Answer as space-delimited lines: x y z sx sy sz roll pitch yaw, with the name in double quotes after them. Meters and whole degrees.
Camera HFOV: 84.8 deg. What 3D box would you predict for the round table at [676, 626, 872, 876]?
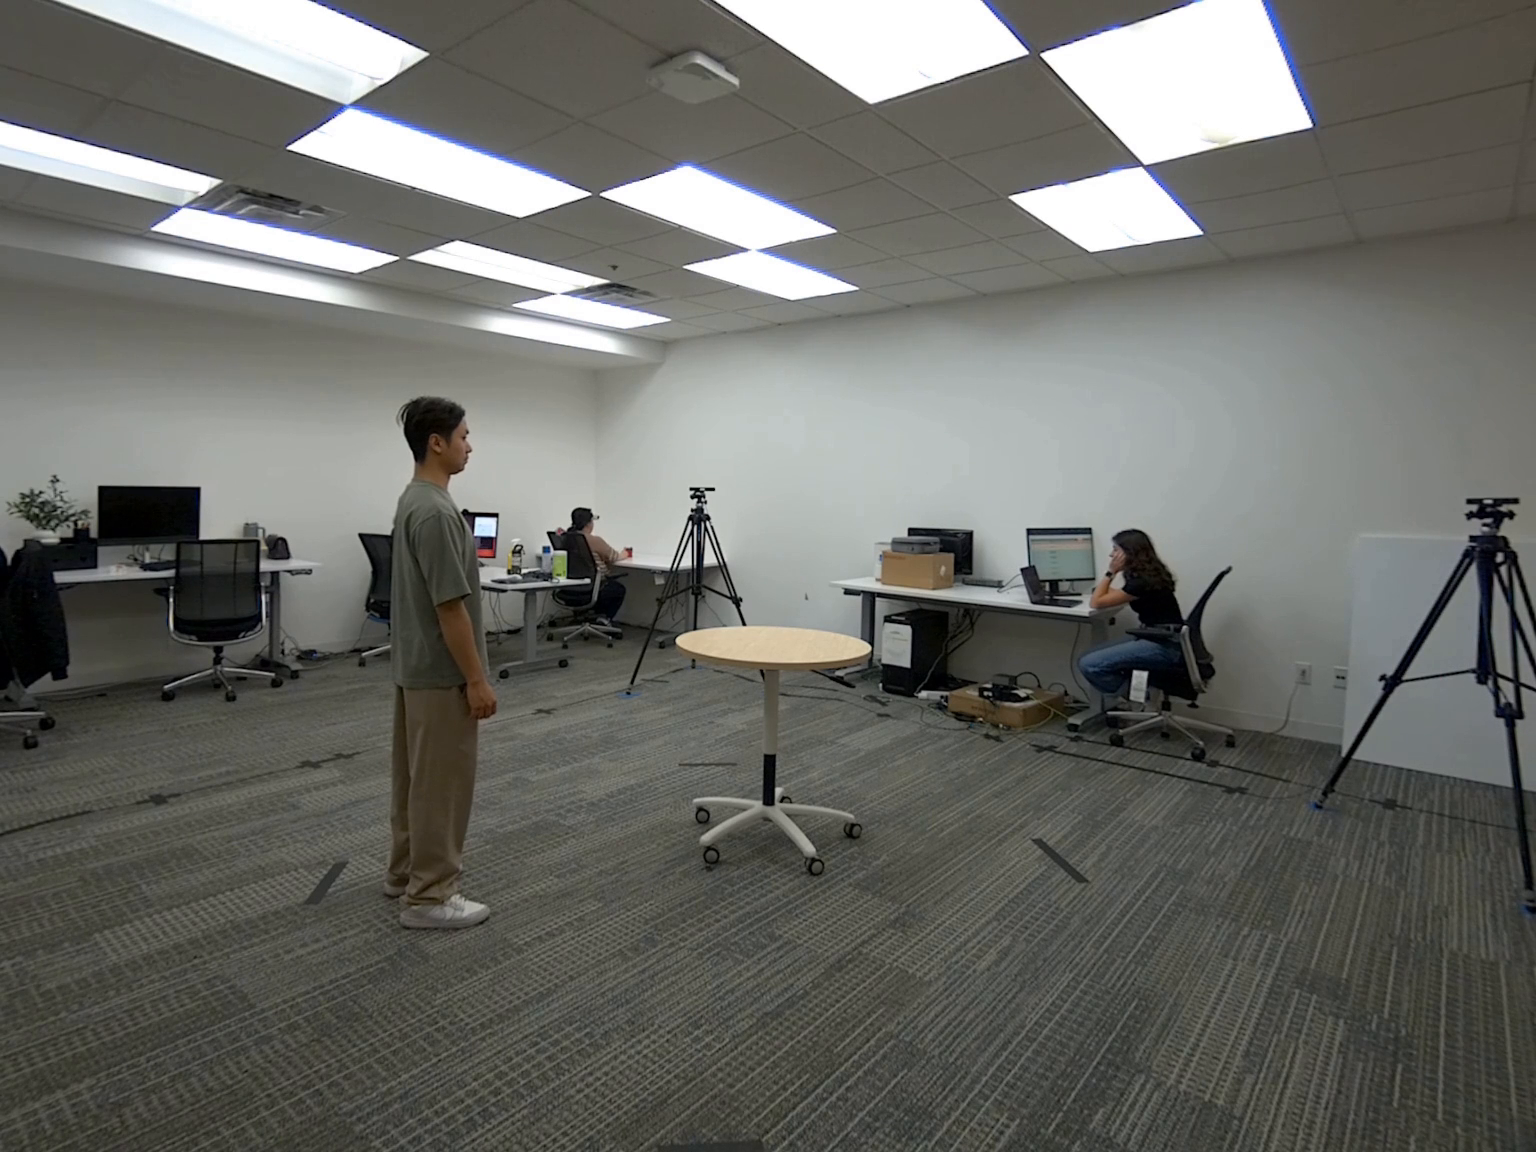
-0.010 0.647 3.382 0.784 0.784 0.789 1 4 -2 "round table"
